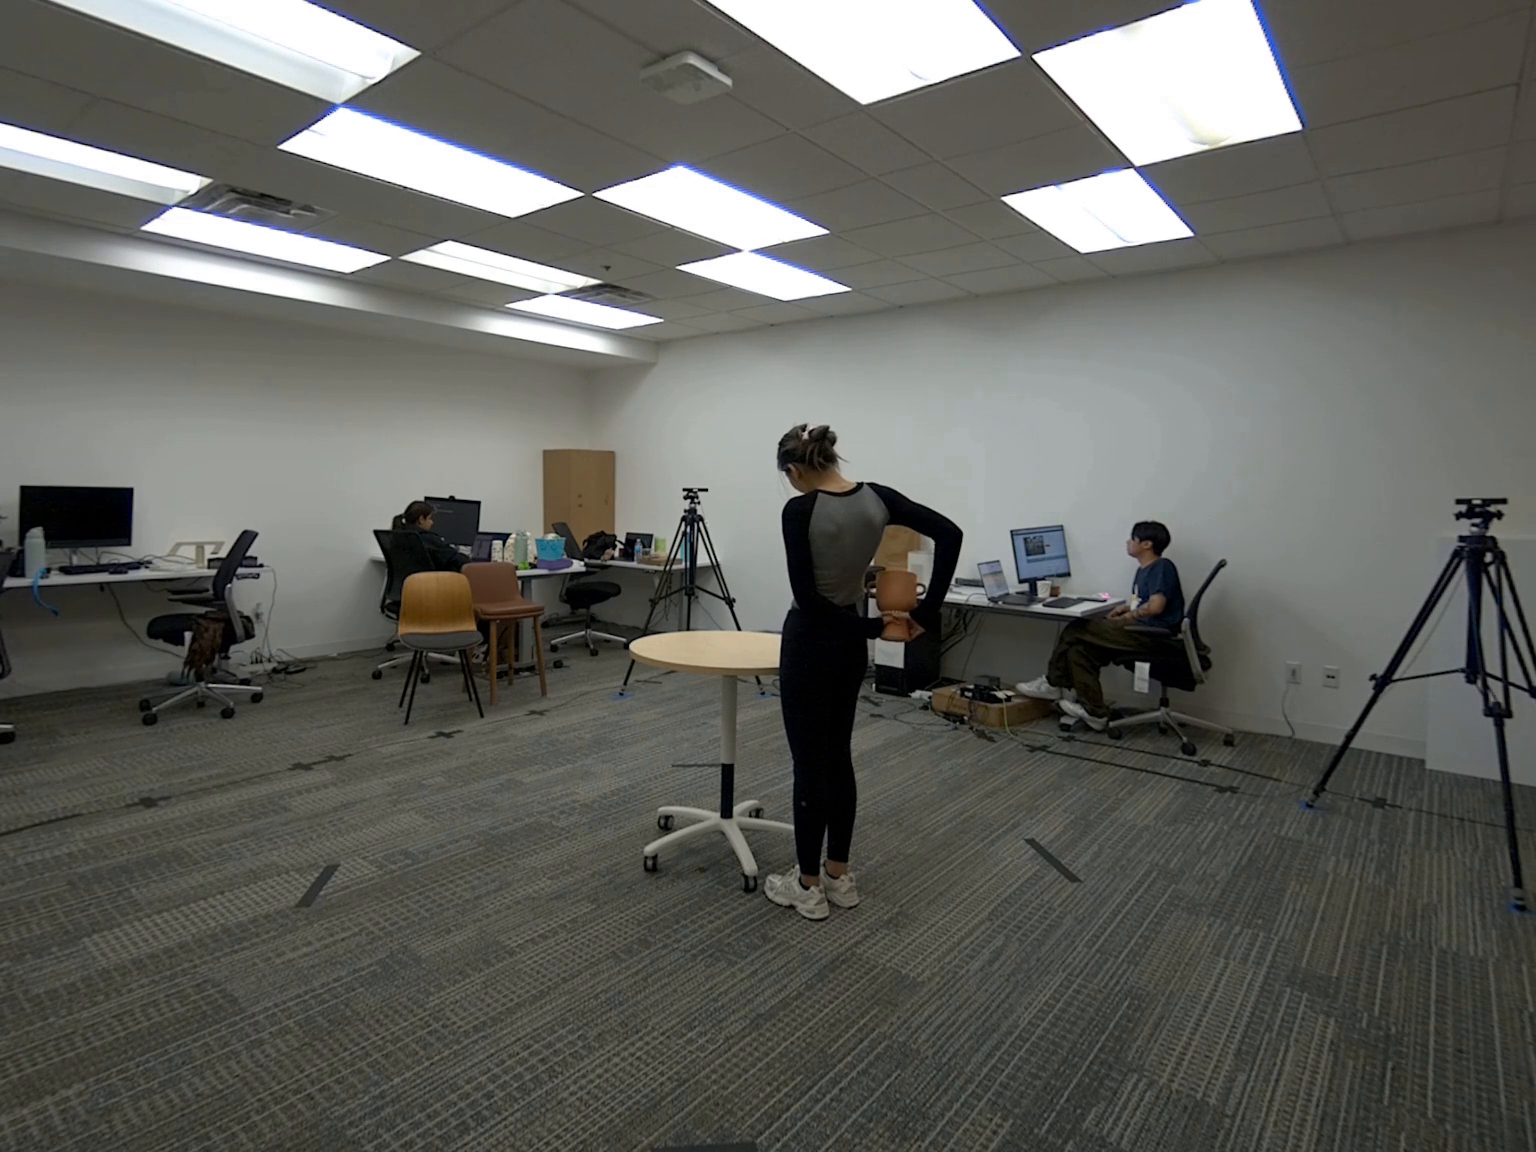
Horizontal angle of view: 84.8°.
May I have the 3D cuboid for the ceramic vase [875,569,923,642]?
[{"bbox_3d":[0.412,0.100,2.811,0.130,0.222,0.162,11,-14,-30],"label":"ceramic vase"}]
